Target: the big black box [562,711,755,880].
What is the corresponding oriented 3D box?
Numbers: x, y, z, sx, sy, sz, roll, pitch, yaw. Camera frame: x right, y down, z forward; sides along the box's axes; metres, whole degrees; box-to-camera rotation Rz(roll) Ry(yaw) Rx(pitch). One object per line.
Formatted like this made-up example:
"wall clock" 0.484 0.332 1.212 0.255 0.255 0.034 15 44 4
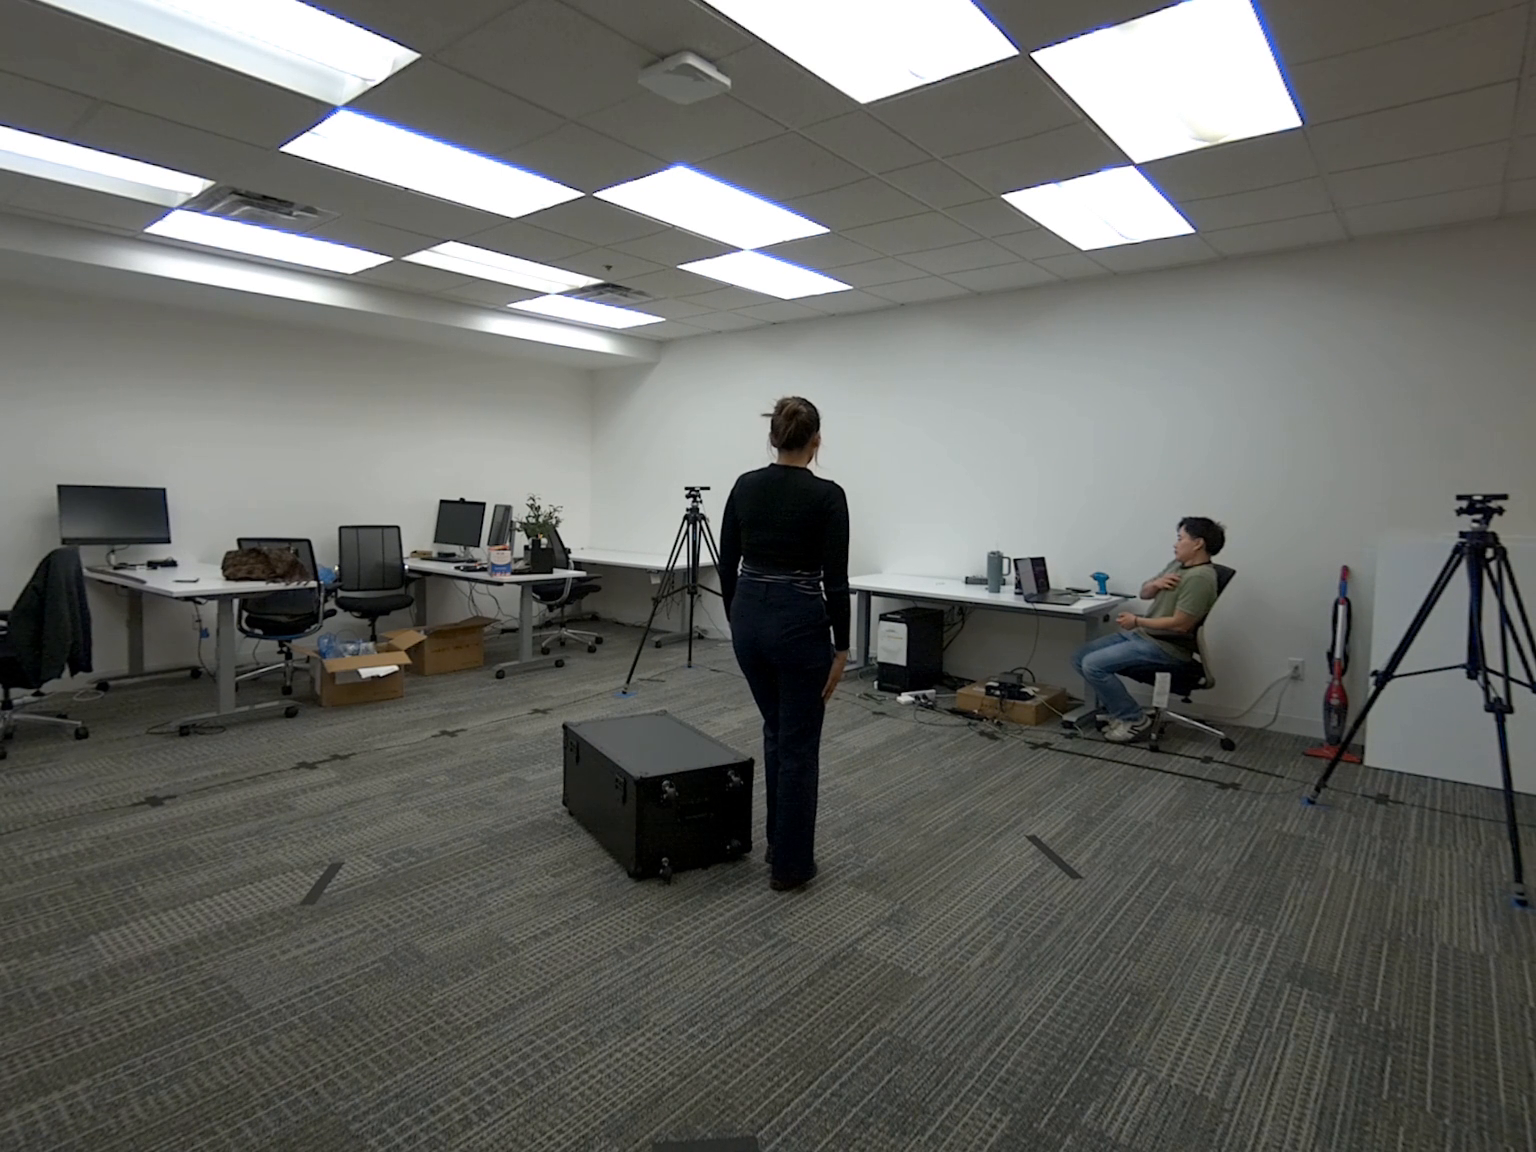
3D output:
"big black box" -0.498 0.838 3.443 0.507 0.395 0.889 -1 6 -31
